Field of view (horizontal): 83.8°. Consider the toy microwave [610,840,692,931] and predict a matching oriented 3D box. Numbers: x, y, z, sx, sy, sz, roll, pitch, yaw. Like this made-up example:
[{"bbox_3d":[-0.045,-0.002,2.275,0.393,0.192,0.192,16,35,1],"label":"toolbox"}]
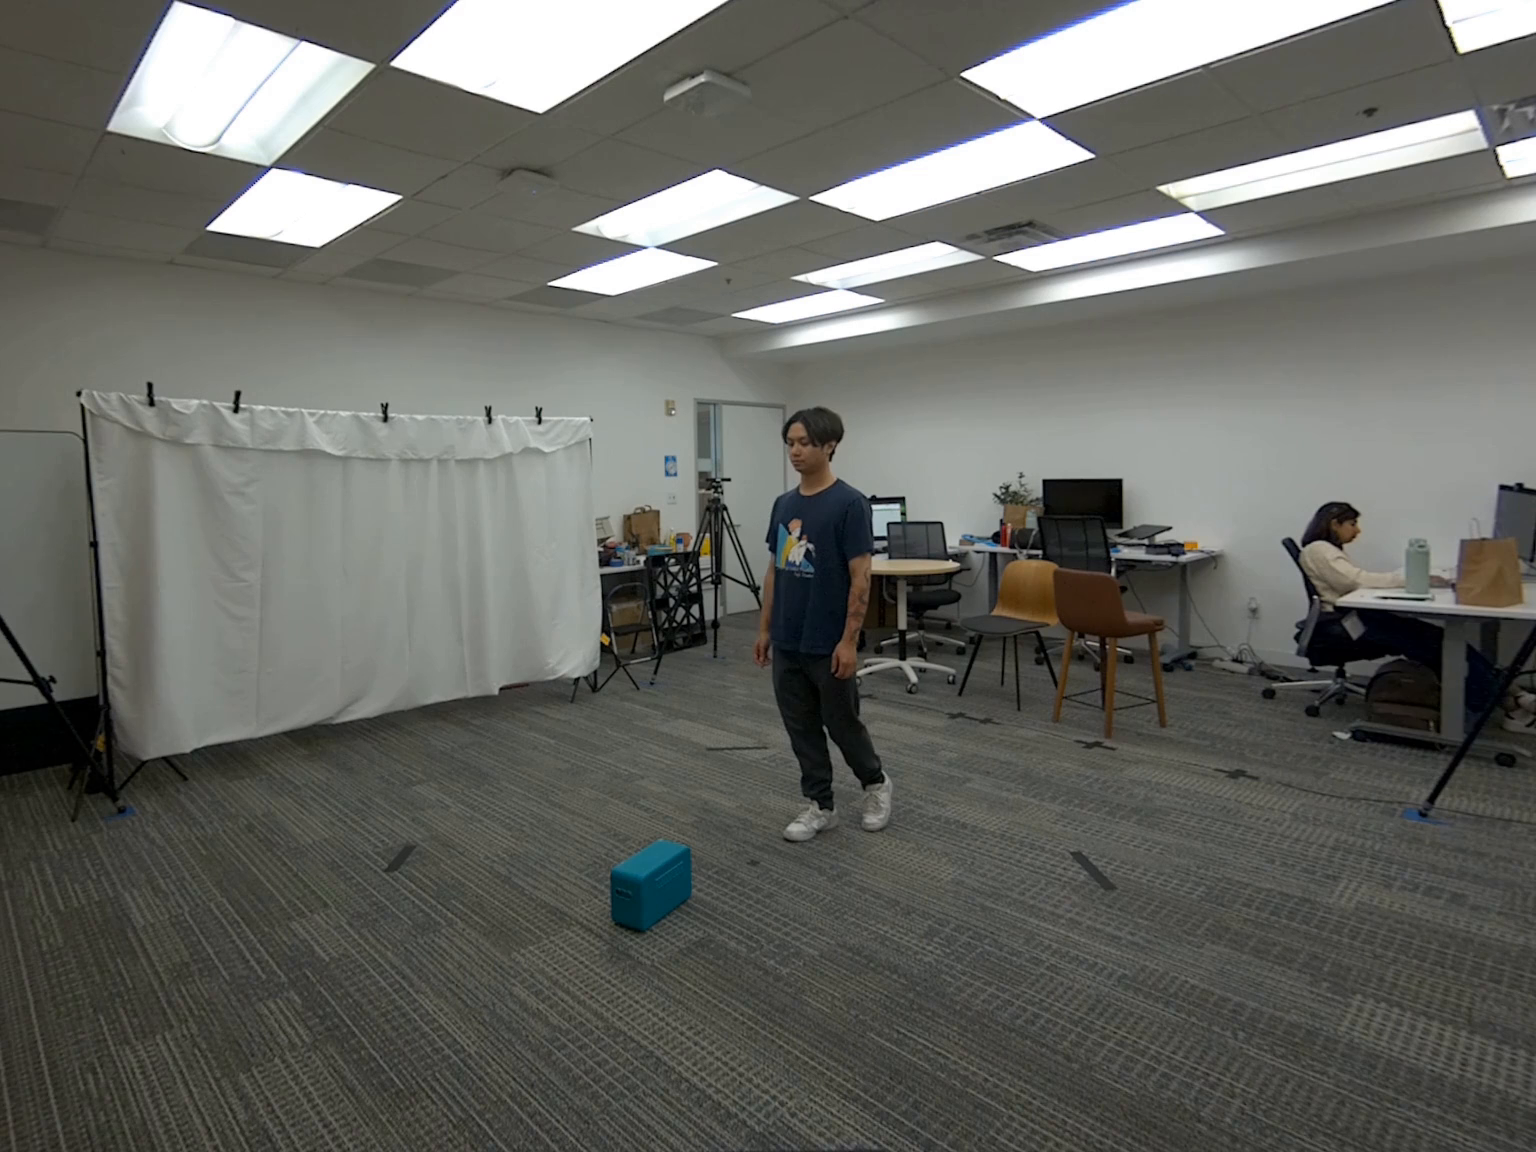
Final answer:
[{"bbox_3d":[-0.378,0.995,2.774,0.156,0.183,0.280,2,7,30],"label":"toy microwave"}]
